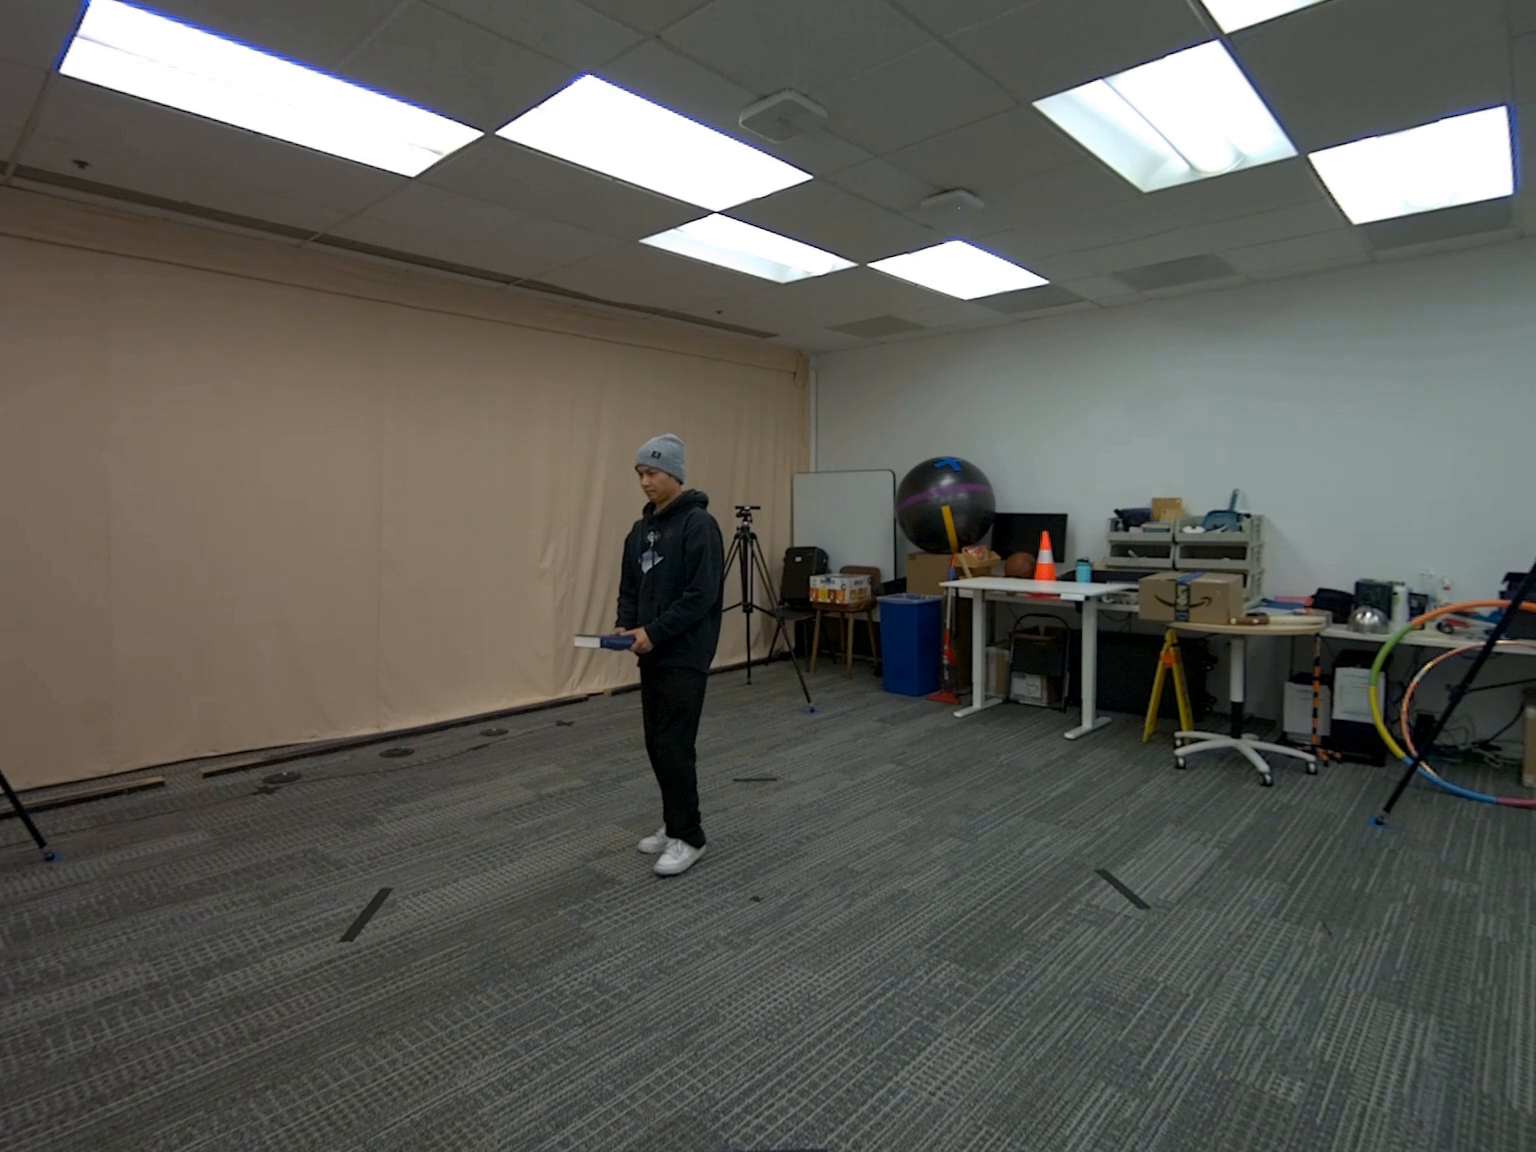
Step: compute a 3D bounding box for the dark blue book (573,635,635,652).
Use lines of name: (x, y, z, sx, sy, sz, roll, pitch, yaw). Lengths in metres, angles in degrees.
dark blue book: (-0.619, 0.248, 3.224, 0.168, 0.045, 0.237, -2, -1, 34)
